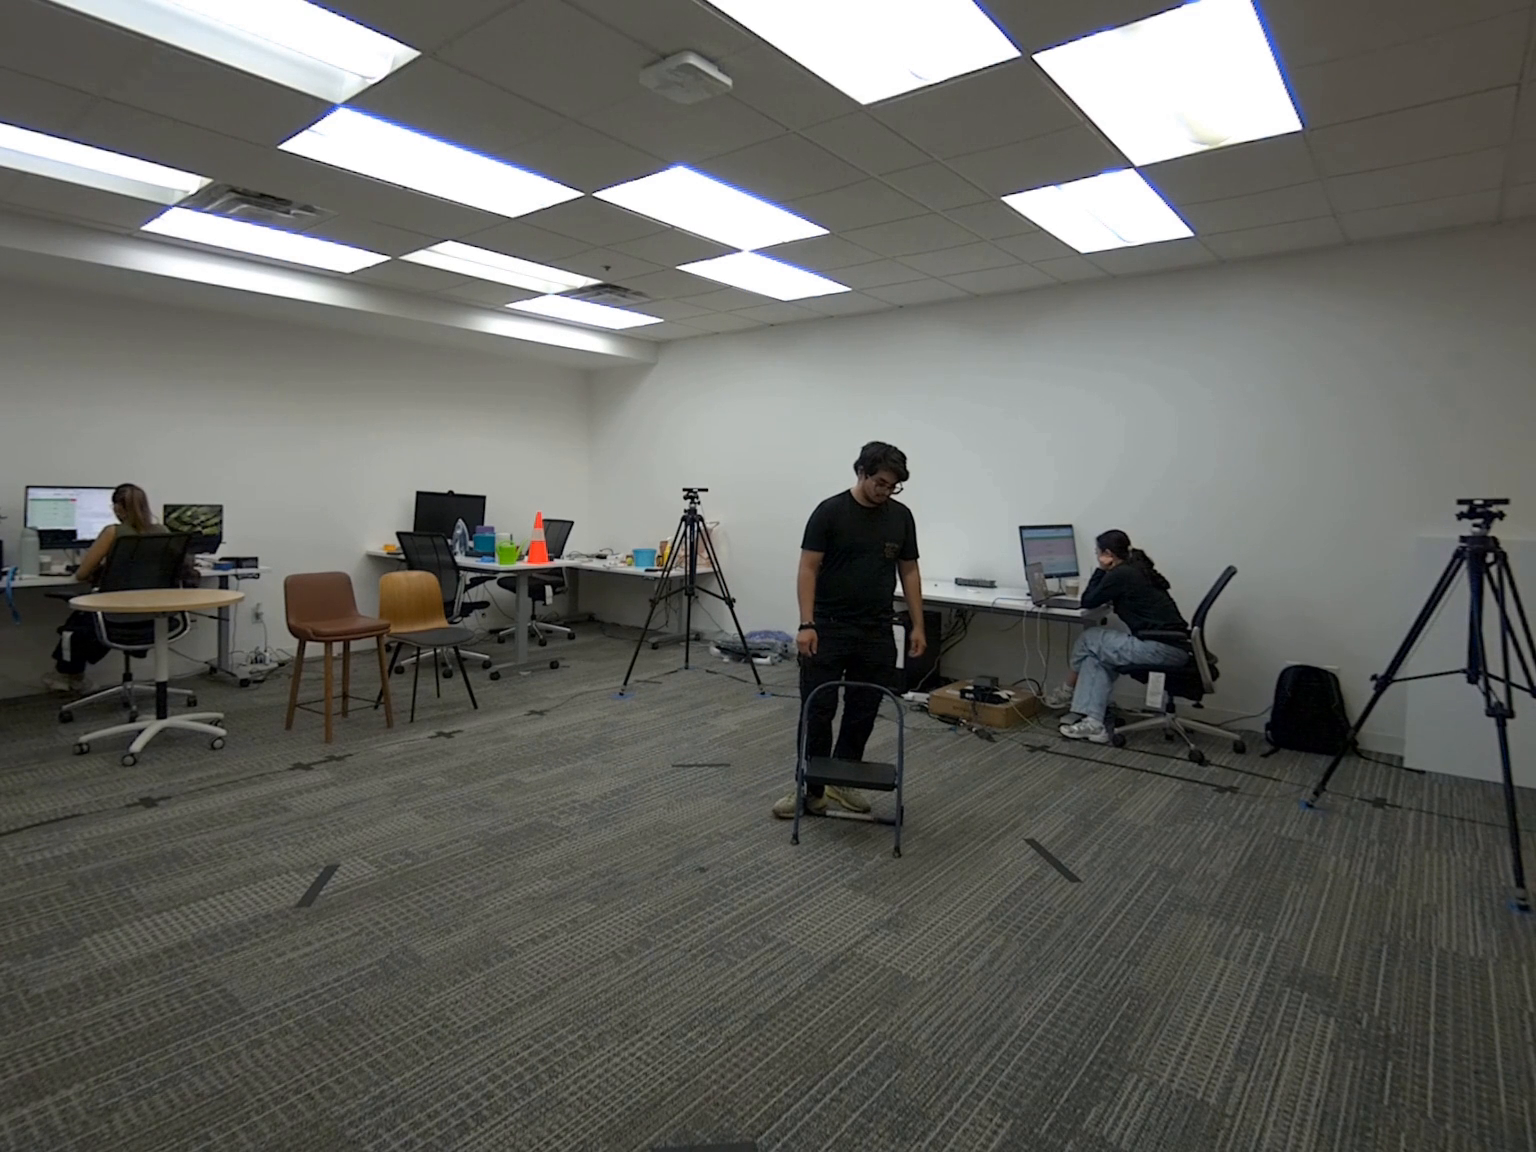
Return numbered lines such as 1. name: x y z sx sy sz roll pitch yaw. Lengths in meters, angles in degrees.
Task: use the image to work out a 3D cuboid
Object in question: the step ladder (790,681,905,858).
1. step ladder: 0.336 0.748 3.458 0.437 0.605 0.345 2 3 12
